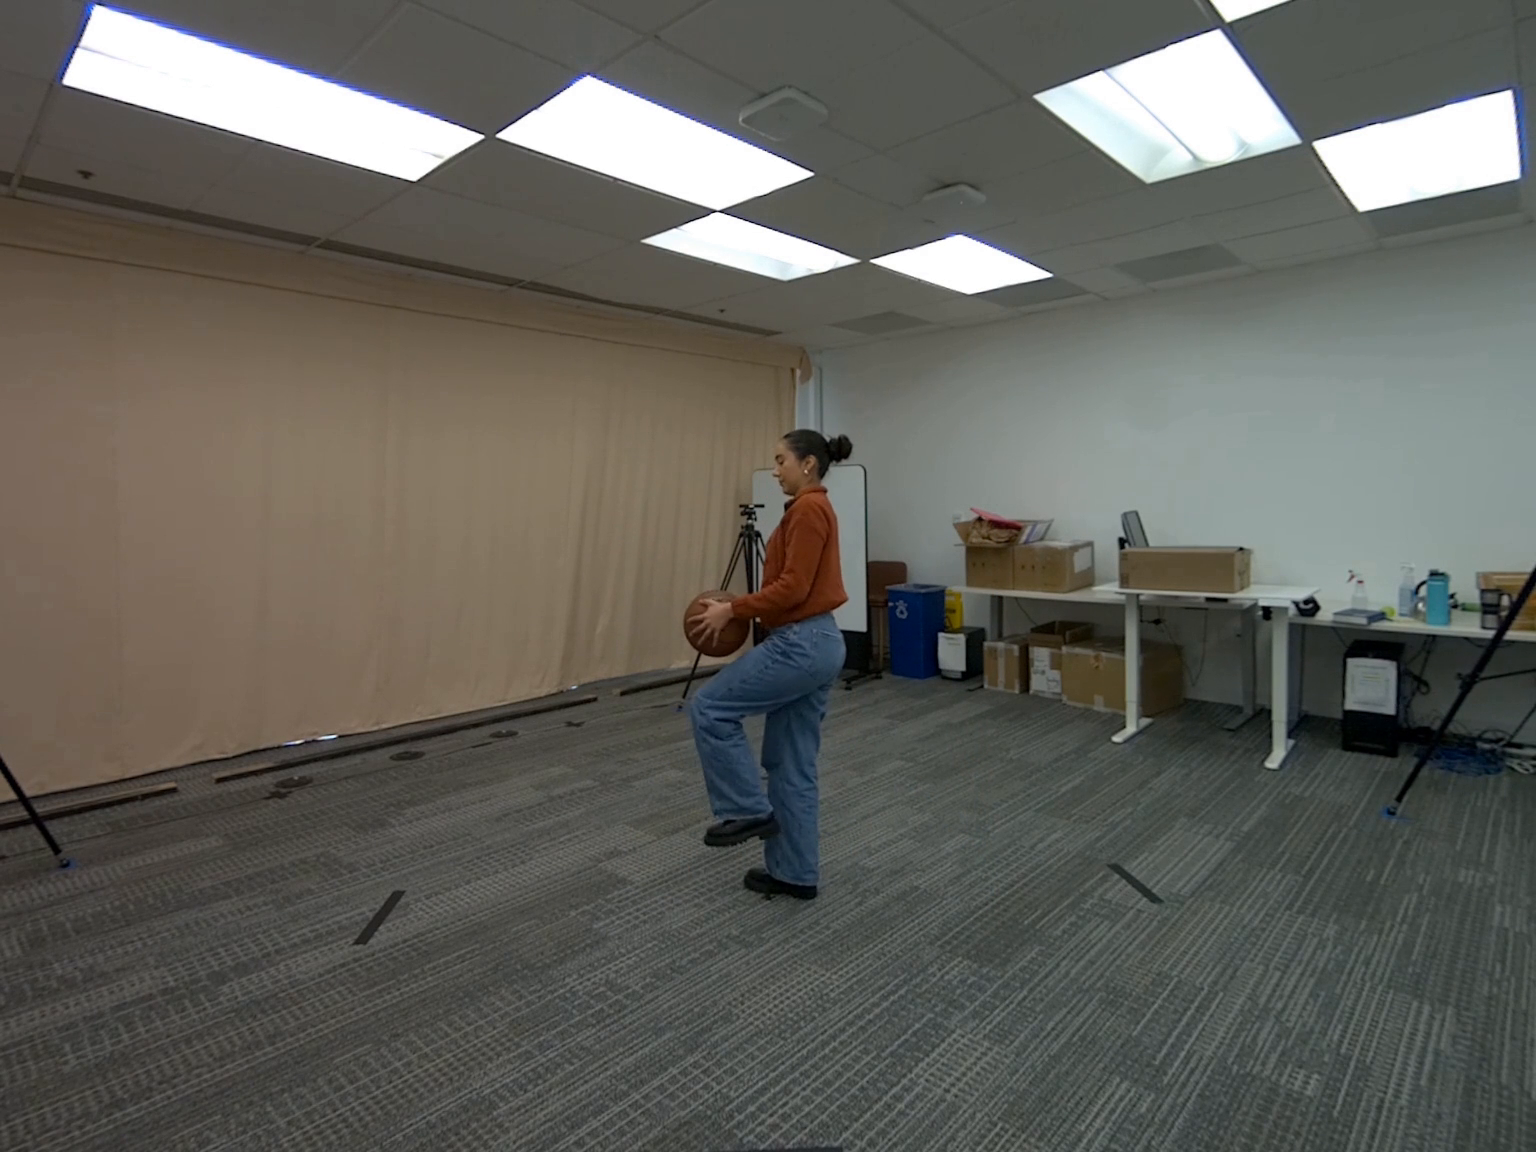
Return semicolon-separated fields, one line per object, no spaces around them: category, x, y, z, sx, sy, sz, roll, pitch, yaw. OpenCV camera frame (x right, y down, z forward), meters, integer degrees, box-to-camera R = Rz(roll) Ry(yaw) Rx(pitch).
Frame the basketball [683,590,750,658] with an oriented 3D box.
basketball;-0.183;0.150;2.961;0.236;0.235;0.237;-1;4;-2
